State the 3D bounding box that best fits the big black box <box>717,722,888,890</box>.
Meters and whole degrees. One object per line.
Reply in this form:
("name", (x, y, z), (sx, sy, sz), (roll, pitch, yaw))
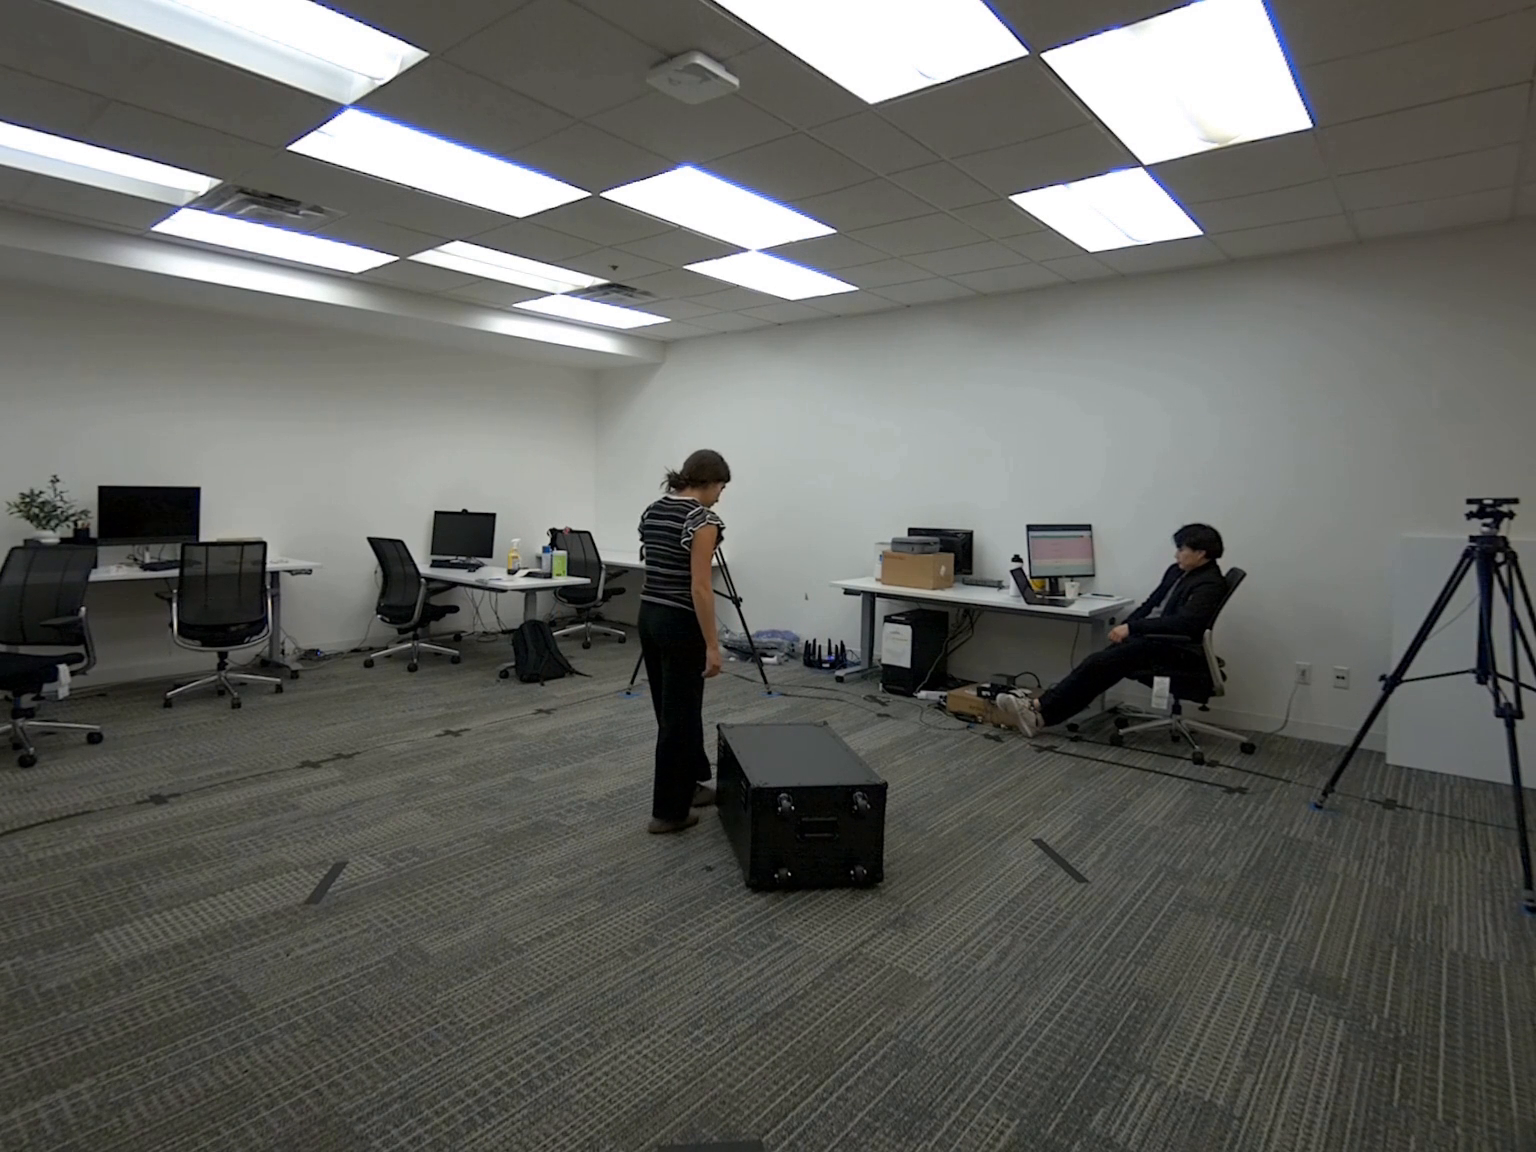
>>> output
("big black box", (0.089, 0.864, 3.282), (0.515, 0.395, 0.874), (0, 5, -12))
